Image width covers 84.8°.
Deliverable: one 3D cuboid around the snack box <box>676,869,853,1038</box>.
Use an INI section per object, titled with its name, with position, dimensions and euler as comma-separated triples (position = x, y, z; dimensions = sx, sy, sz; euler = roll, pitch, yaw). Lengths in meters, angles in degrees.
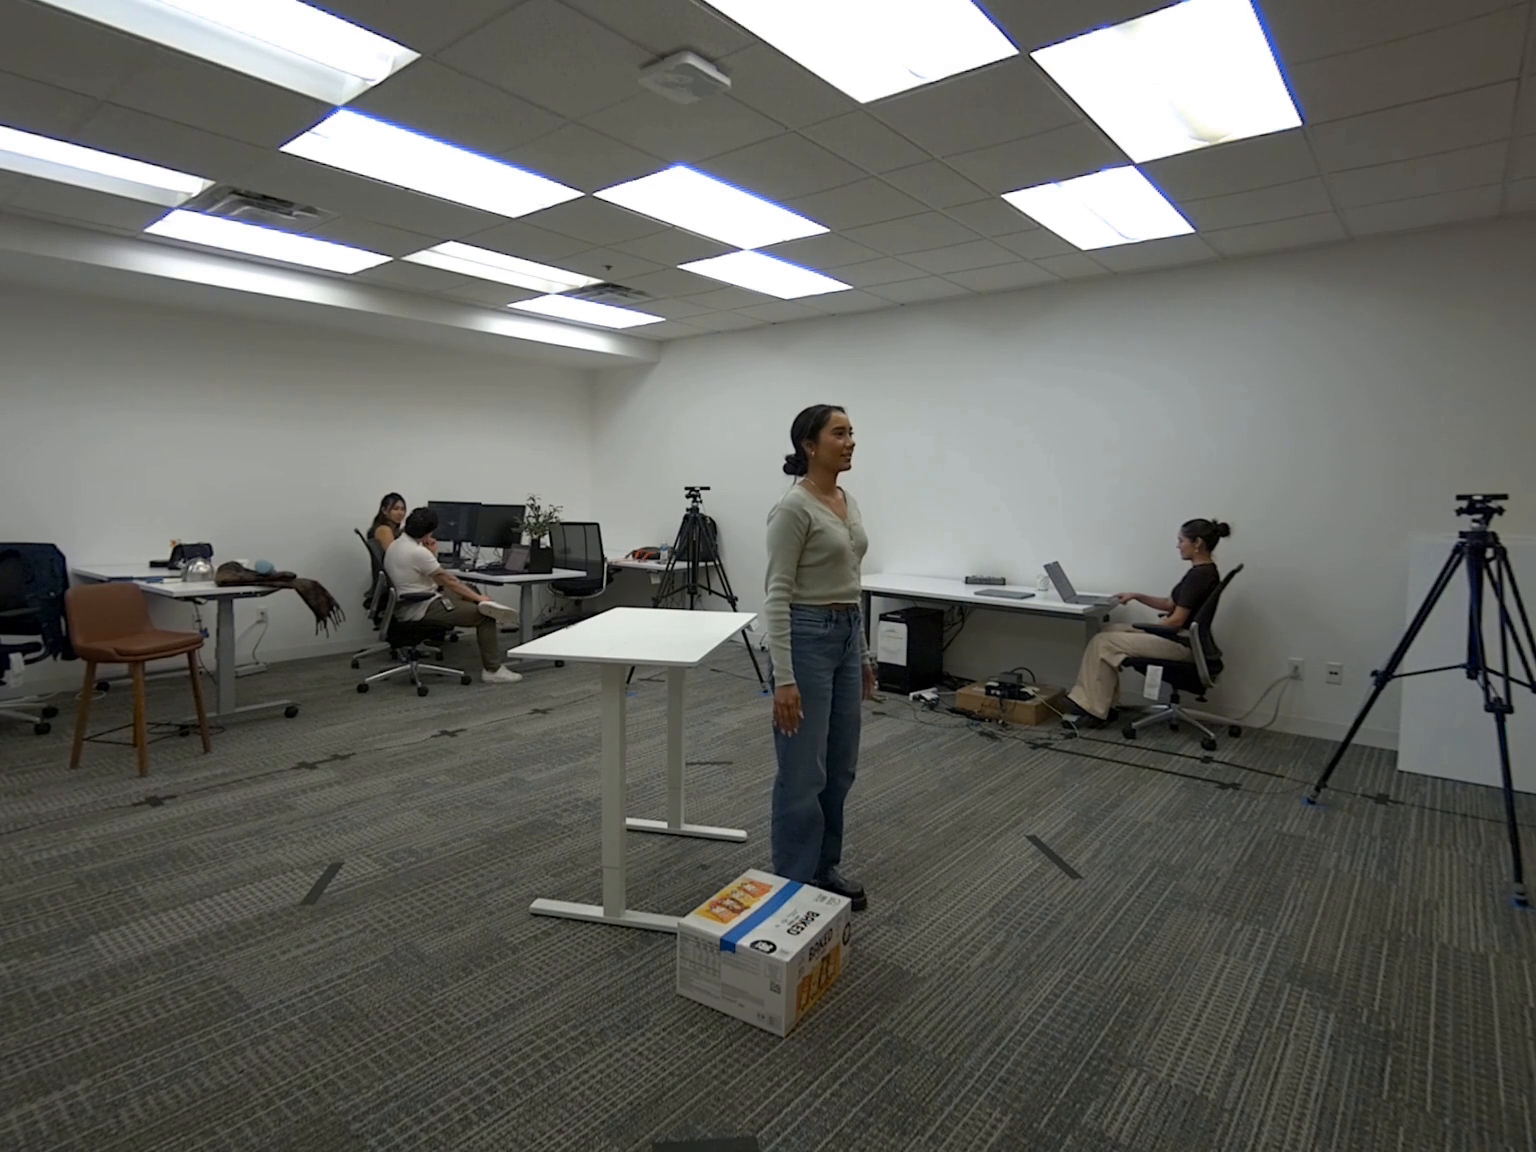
[snack box]
position = -0.011, 1.039, 2.398
dimensions = 0.350, 0.205, 0.395
euler = 4, 6, 30
